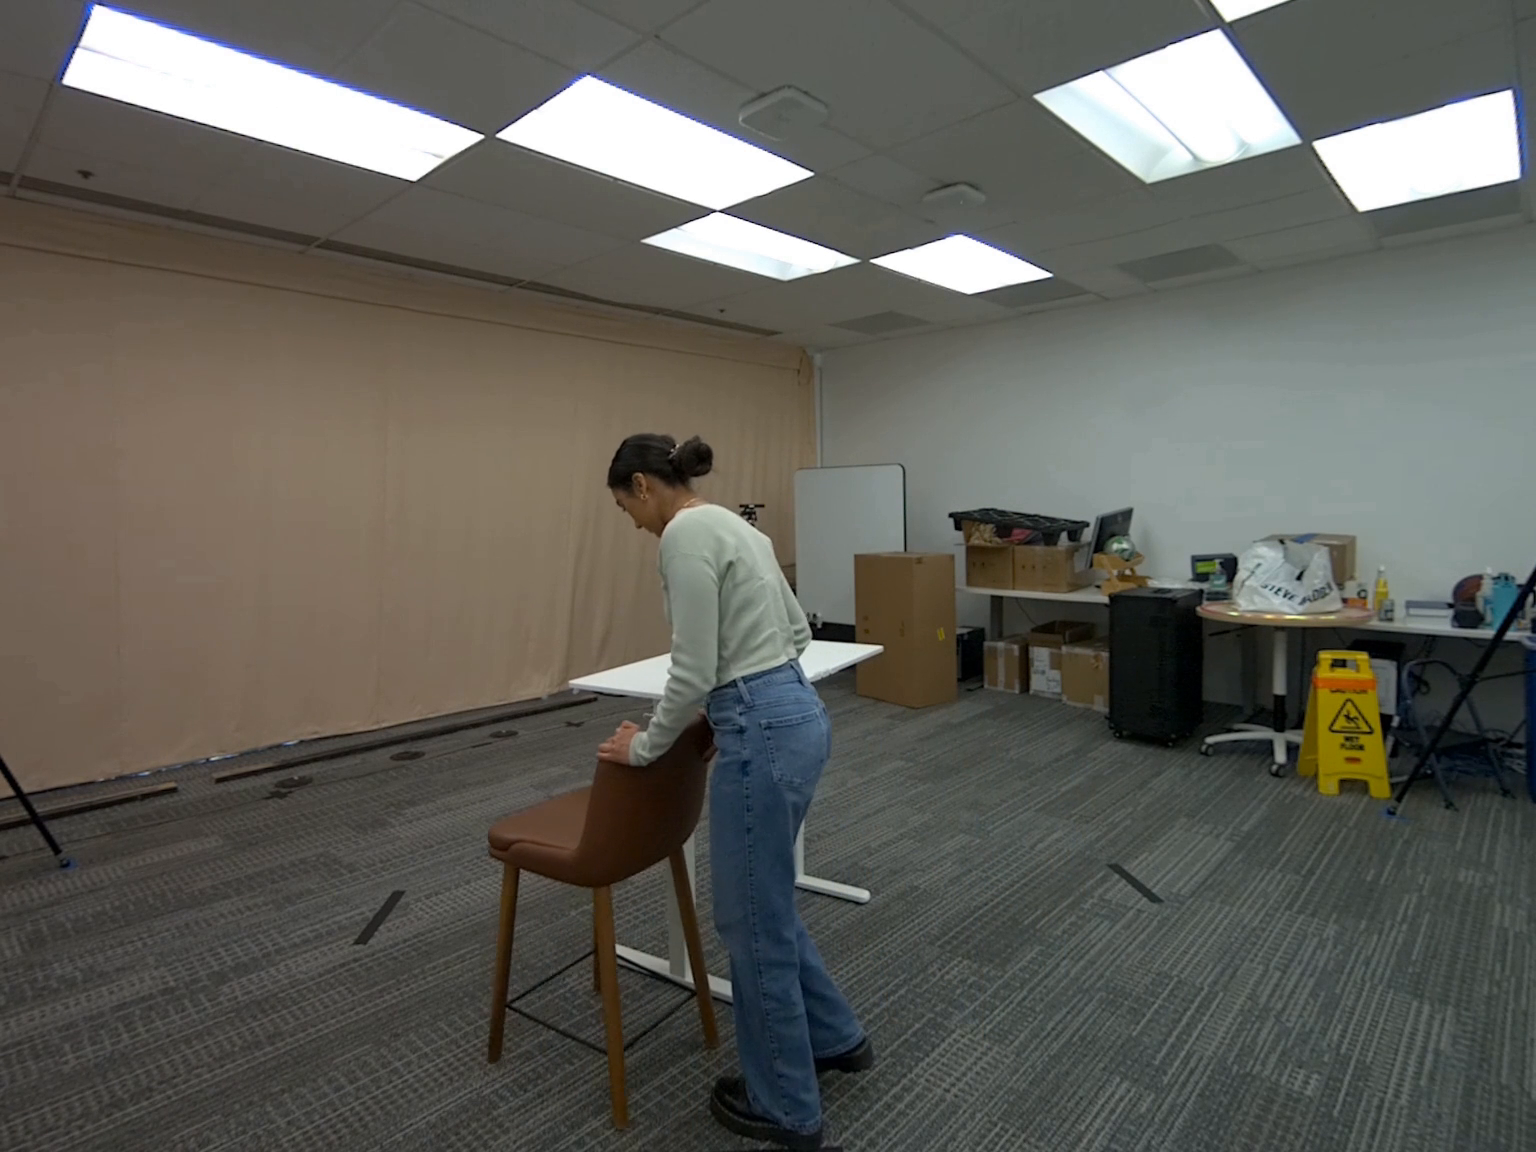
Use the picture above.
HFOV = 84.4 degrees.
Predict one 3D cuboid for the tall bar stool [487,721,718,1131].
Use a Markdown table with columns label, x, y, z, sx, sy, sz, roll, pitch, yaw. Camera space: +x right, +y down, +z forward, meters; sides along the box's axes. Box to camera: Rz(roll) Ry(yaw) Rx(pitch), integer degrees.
| label | x | y | z | sx | sy | sz | roll | pitch | yaw |
| --- | --- | --- | --- | --- | --- | --- | --- | --- | --- |
| tall bar stool | -0.417 | 0.787 | 2.127 | 0.483 | 0.887 | 0.443 | 5 | 6 | 35 |
